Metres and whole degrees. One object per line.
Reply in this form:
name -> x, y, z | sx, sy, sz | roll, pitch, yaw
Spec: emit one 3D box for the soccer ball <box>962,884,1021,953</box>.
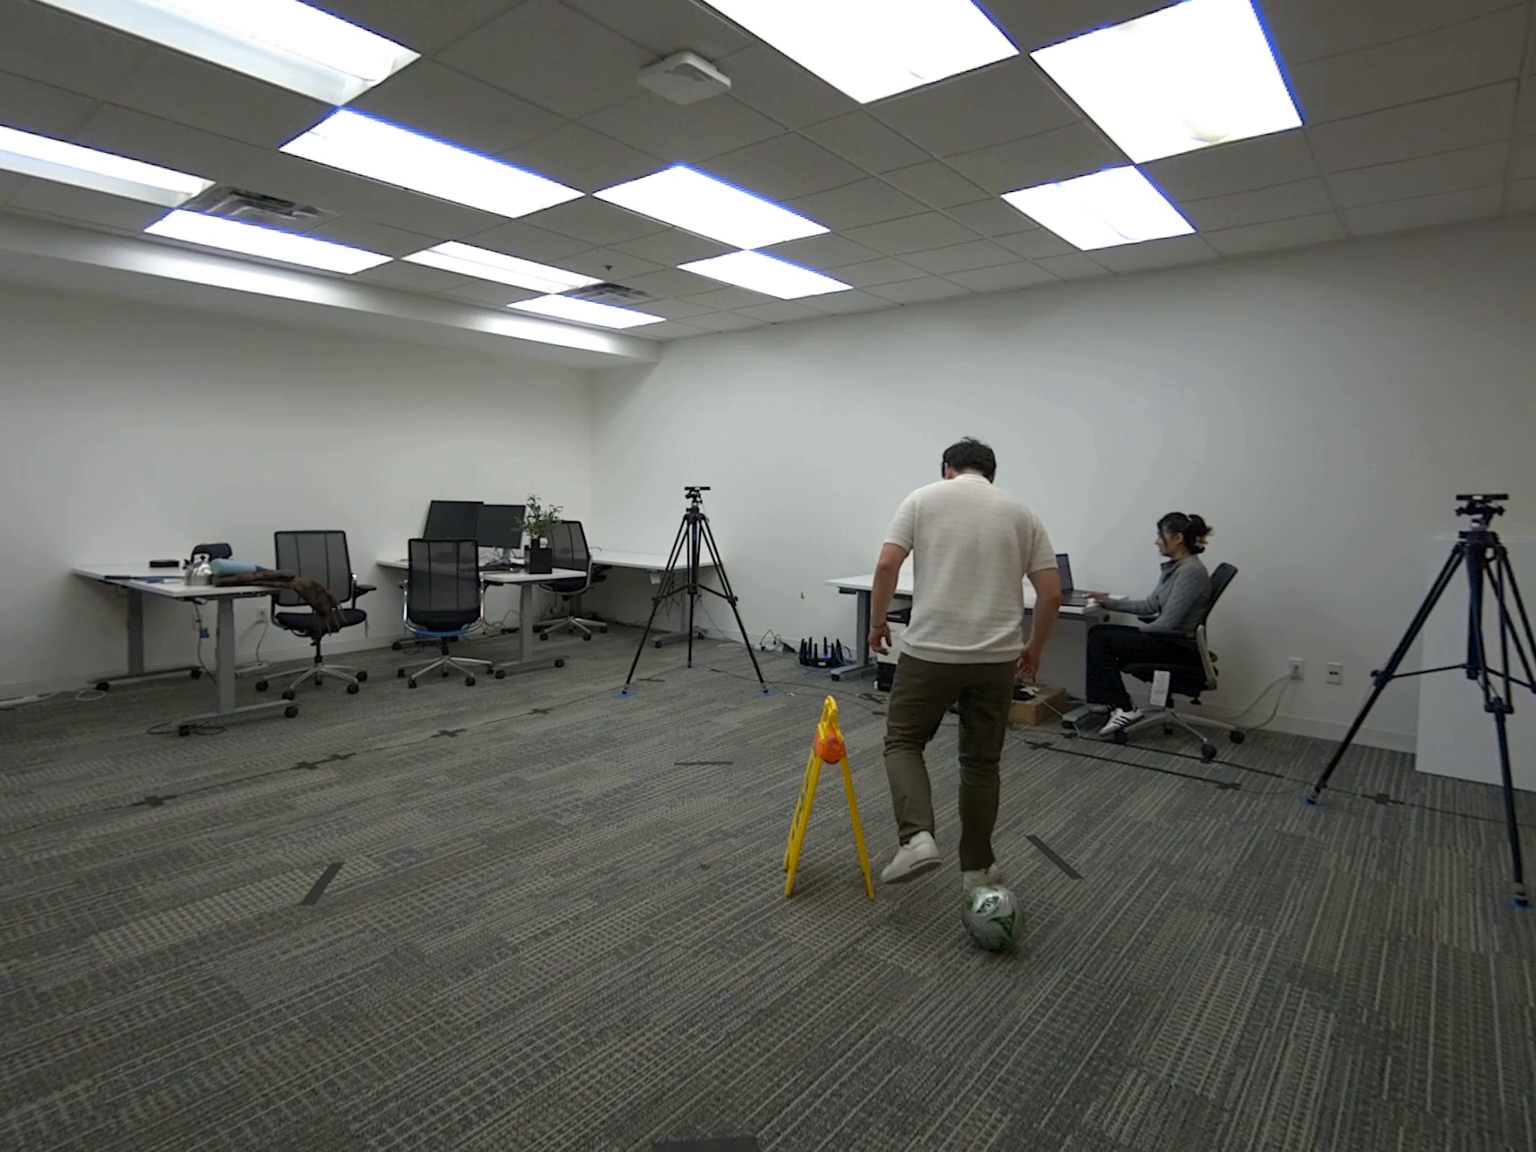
soccer ball -> 0.683, 1.044, 2.612 | 0.187, 0.187, 0.188 | 0, 4, -2
